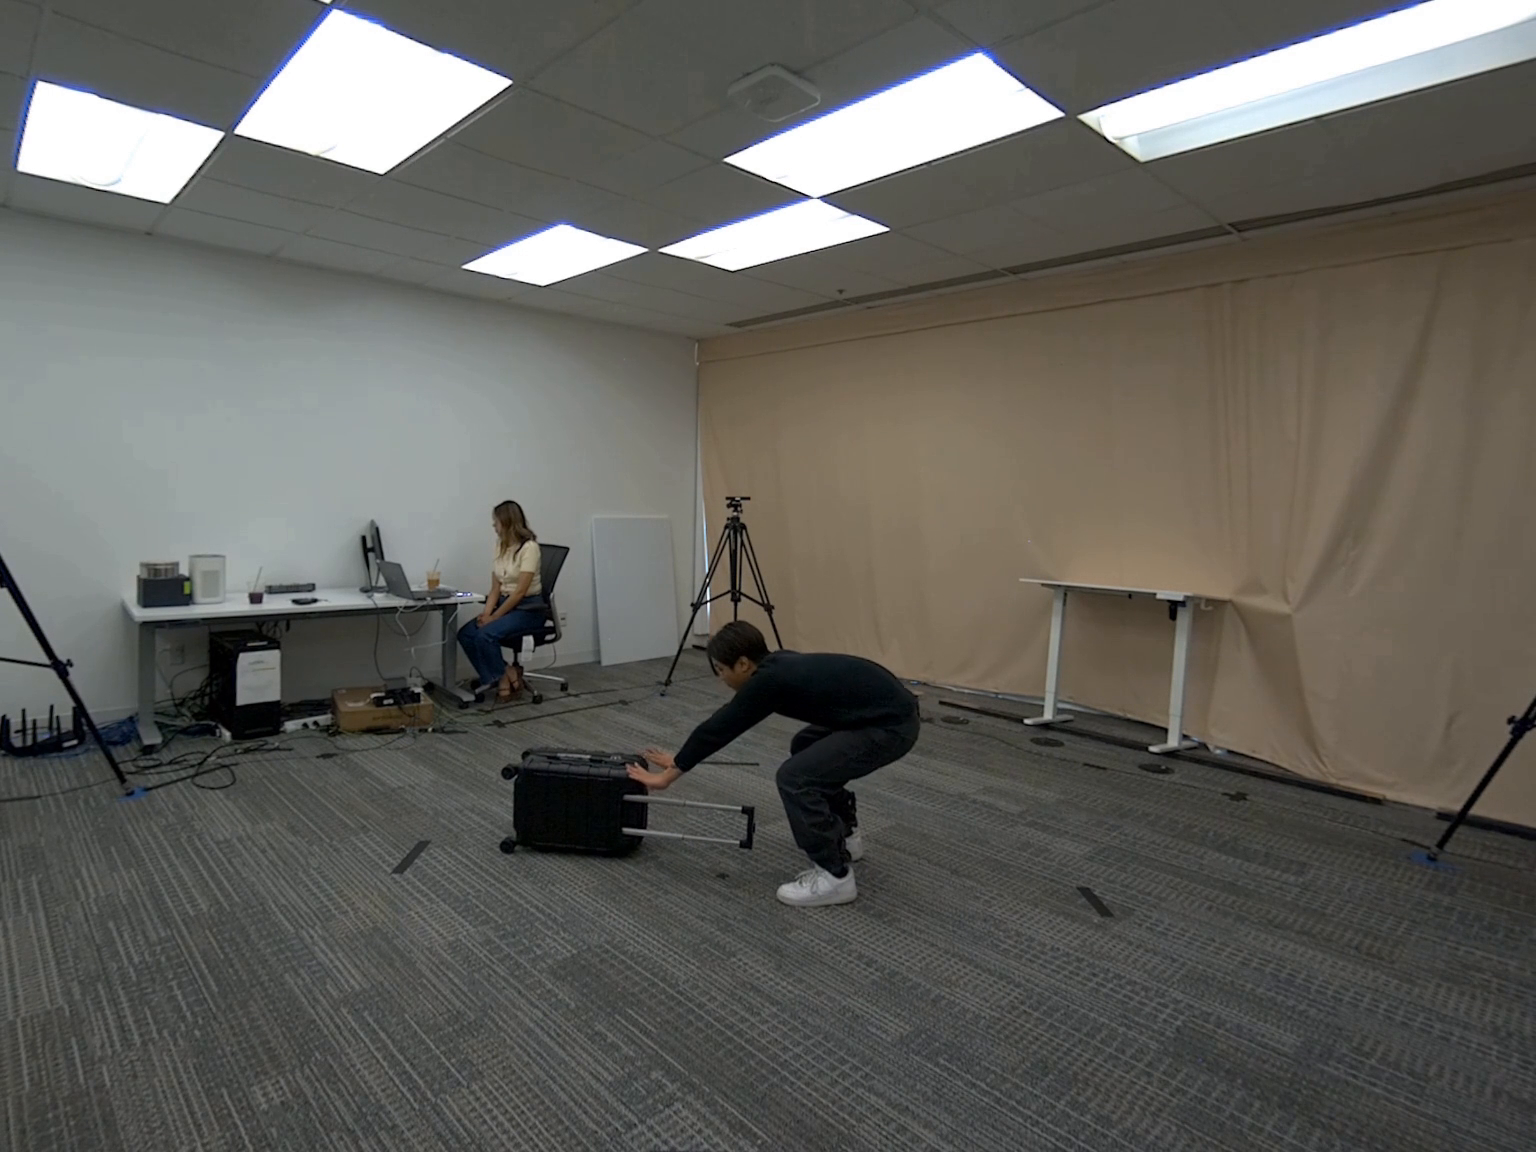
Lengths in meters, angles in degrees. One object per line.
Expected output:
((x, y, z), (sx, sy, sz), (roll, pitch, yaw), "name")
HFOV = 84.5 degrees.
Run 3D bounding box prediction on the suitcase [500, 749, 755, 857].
((-0.539, 0.886, 3.302), (0.984, 0.382, 0.256), (2, 6, 6), "suitcase")
